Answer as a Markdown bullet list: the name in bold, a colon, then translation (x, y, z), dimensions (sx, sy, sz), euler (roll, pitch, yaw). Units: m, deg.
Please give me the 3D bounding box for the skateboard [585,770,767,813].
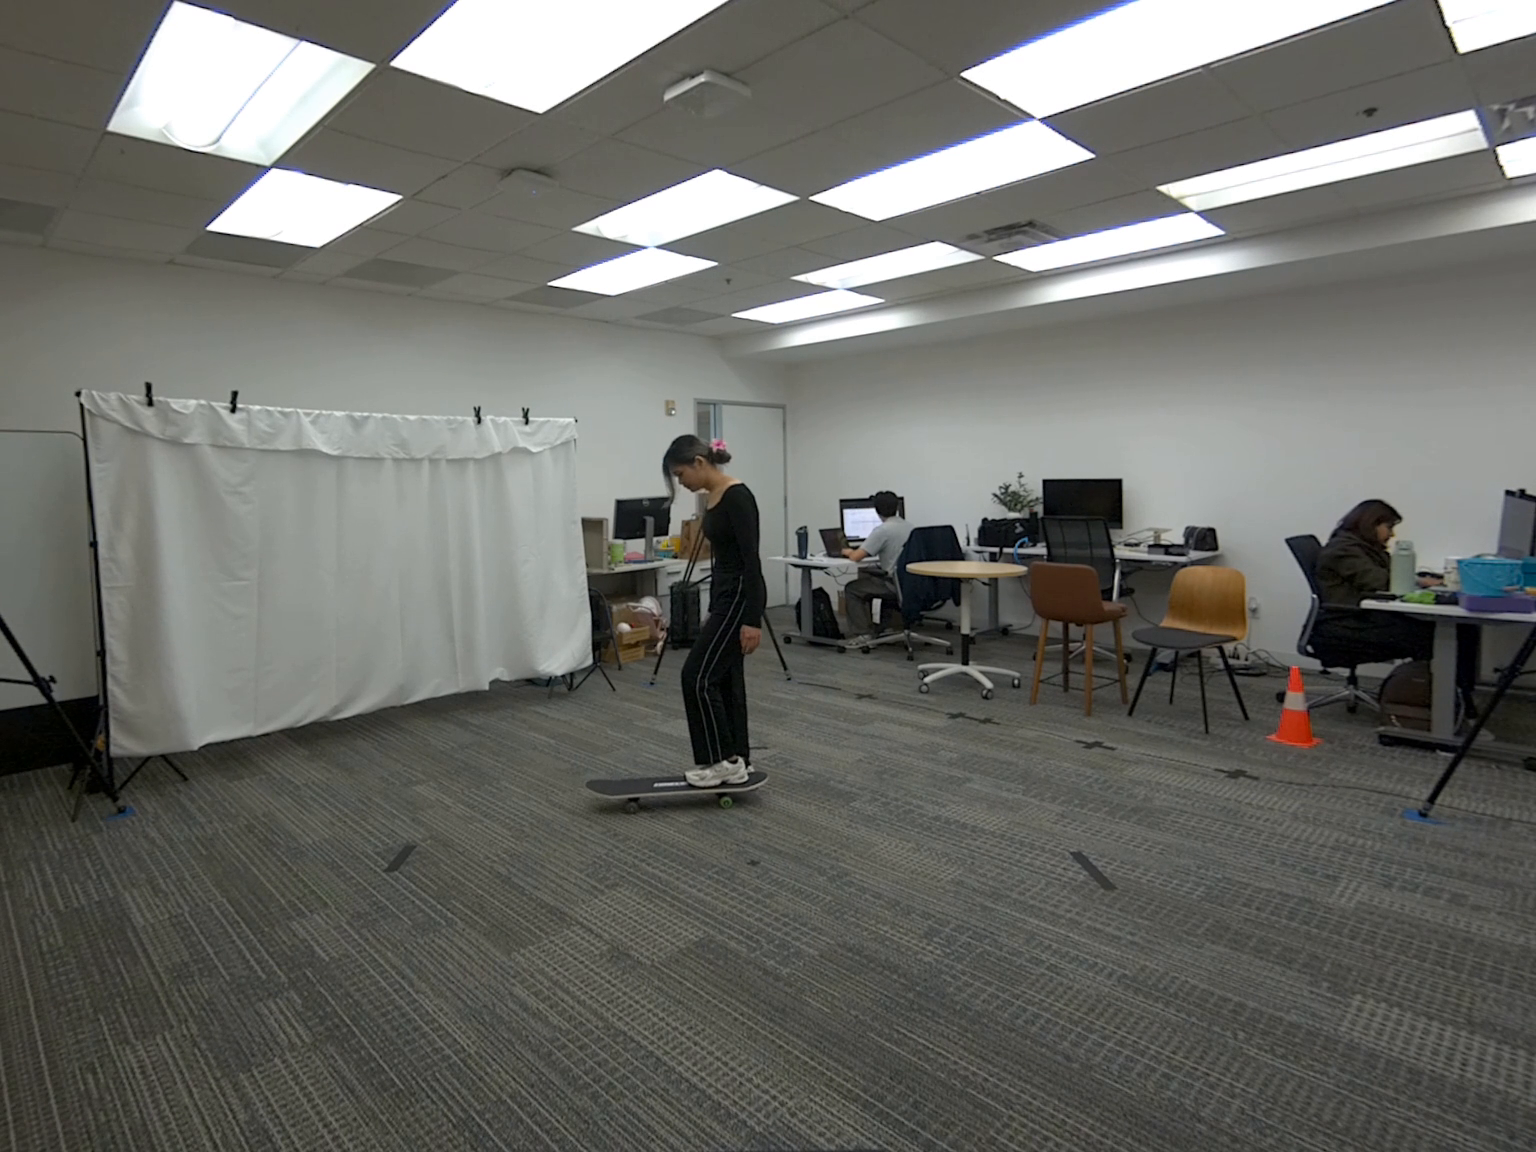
- **skateboard**: translation (-0.384, 0.927, 3.678), dimensions (0.781, 0.110, 0.195), euler (-1, 6, -5)
